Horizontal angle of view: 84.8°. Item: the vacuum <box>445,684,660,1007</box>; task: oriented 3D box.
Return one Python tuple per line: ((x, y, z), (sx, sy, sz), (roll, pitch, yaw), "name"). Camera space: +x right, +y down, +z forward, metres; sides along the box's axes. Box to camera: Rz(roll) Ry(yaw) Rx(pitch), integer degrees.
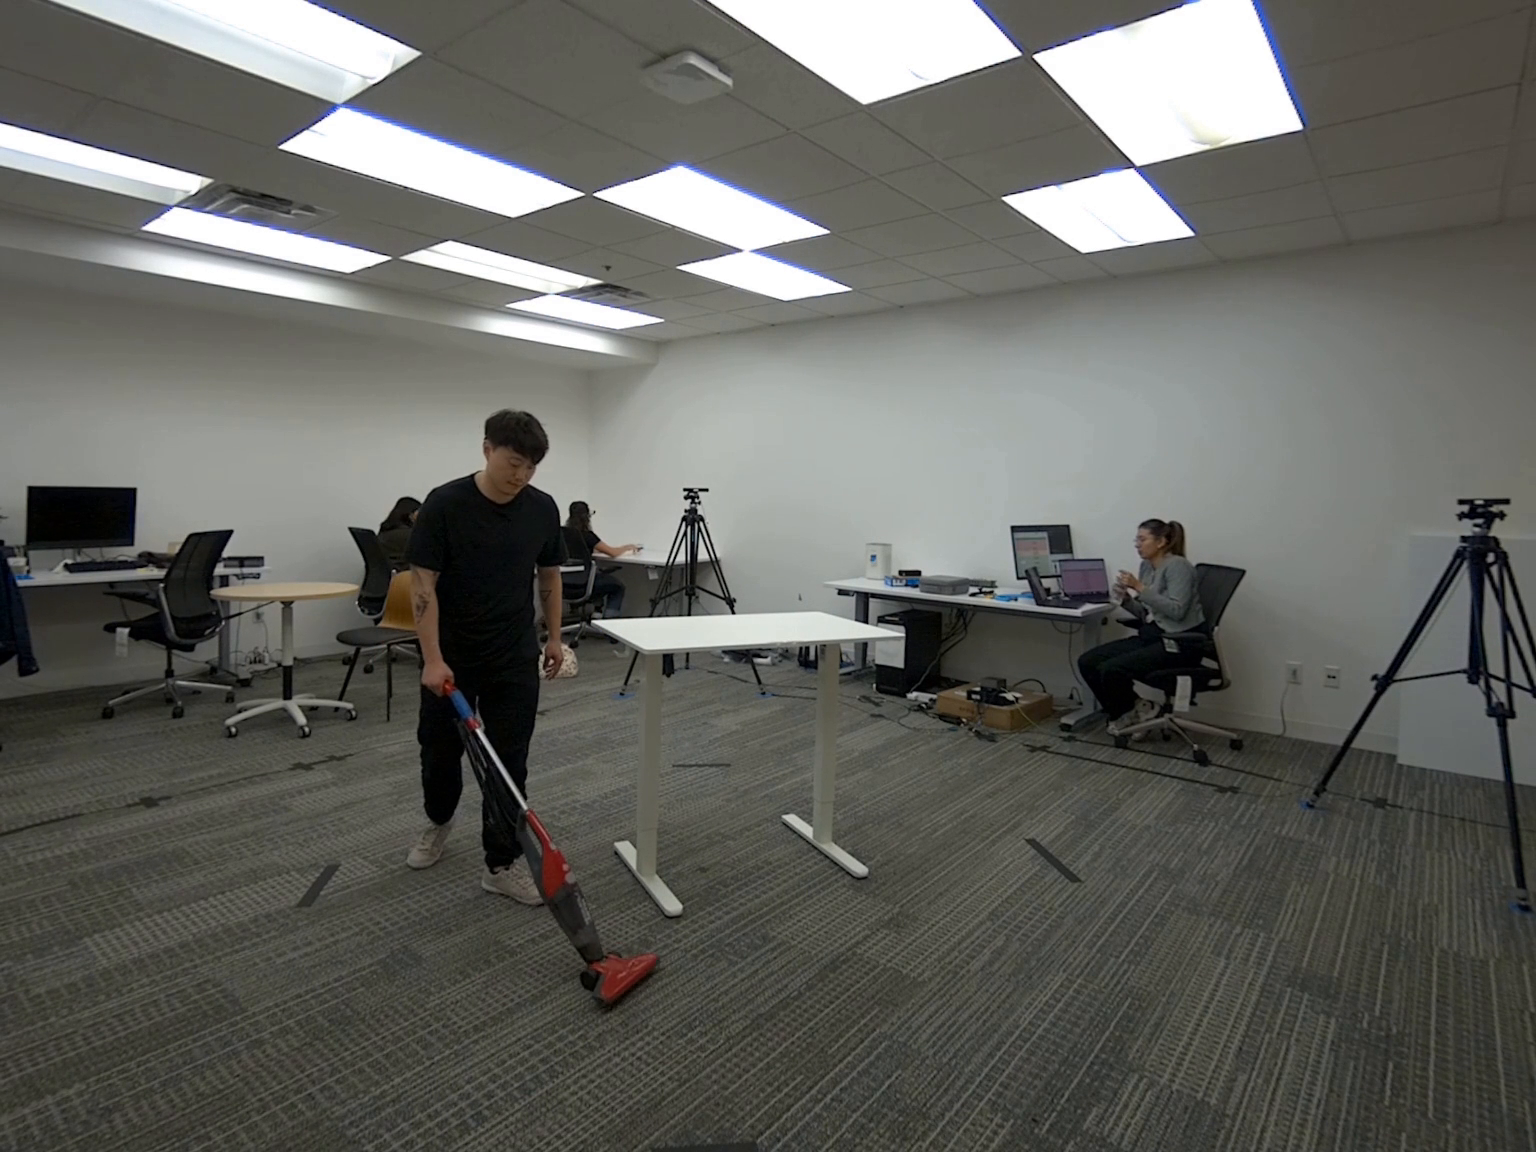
((-0.741, 0.734, 2.548), (1.078, 0.144, 0.246), (50, 21, 20), "vacuum")
